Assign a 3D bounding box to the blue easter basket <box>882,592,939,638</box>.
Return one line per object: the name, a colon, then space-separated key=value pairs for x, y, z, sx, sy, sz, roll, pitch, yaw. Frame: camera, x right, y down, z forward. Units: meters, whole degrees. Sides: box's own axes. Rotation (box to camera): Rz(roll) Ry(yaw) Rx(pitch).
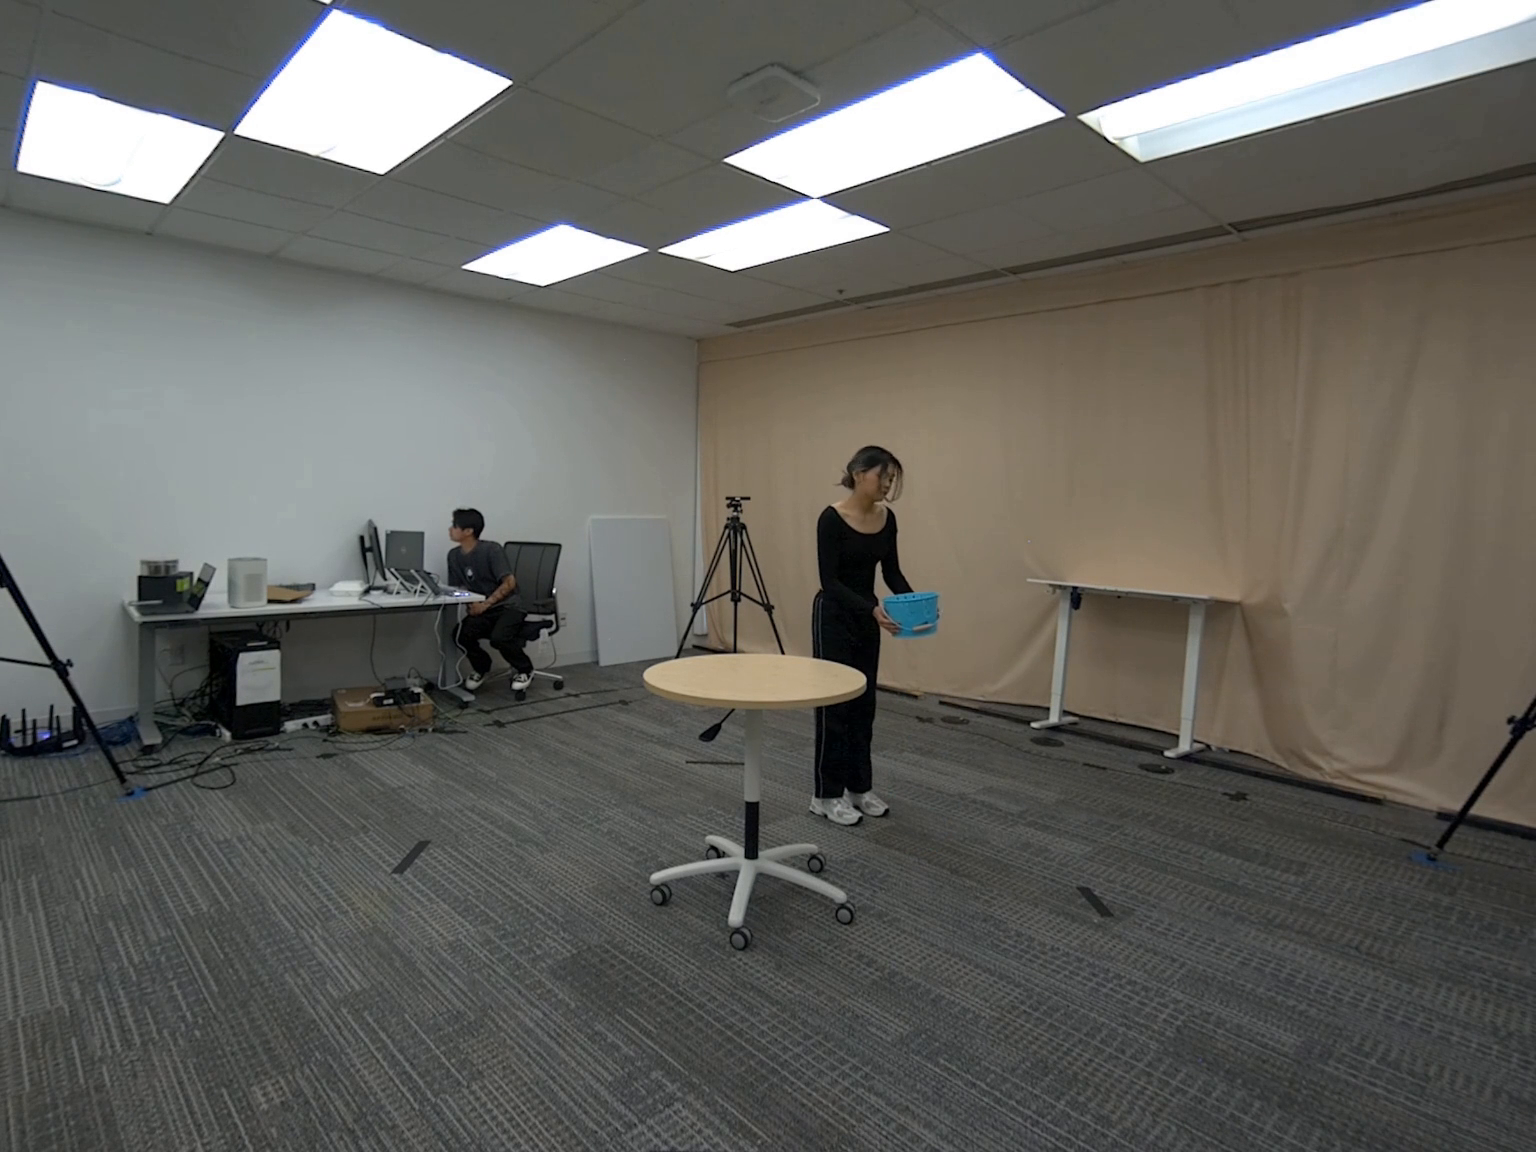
blue easter basket: x=0.567 y=0.170 z=3.422 sx=0.243 sy=0.156 sz=0.244 roll=-7 pitch=3 yaw=-1
